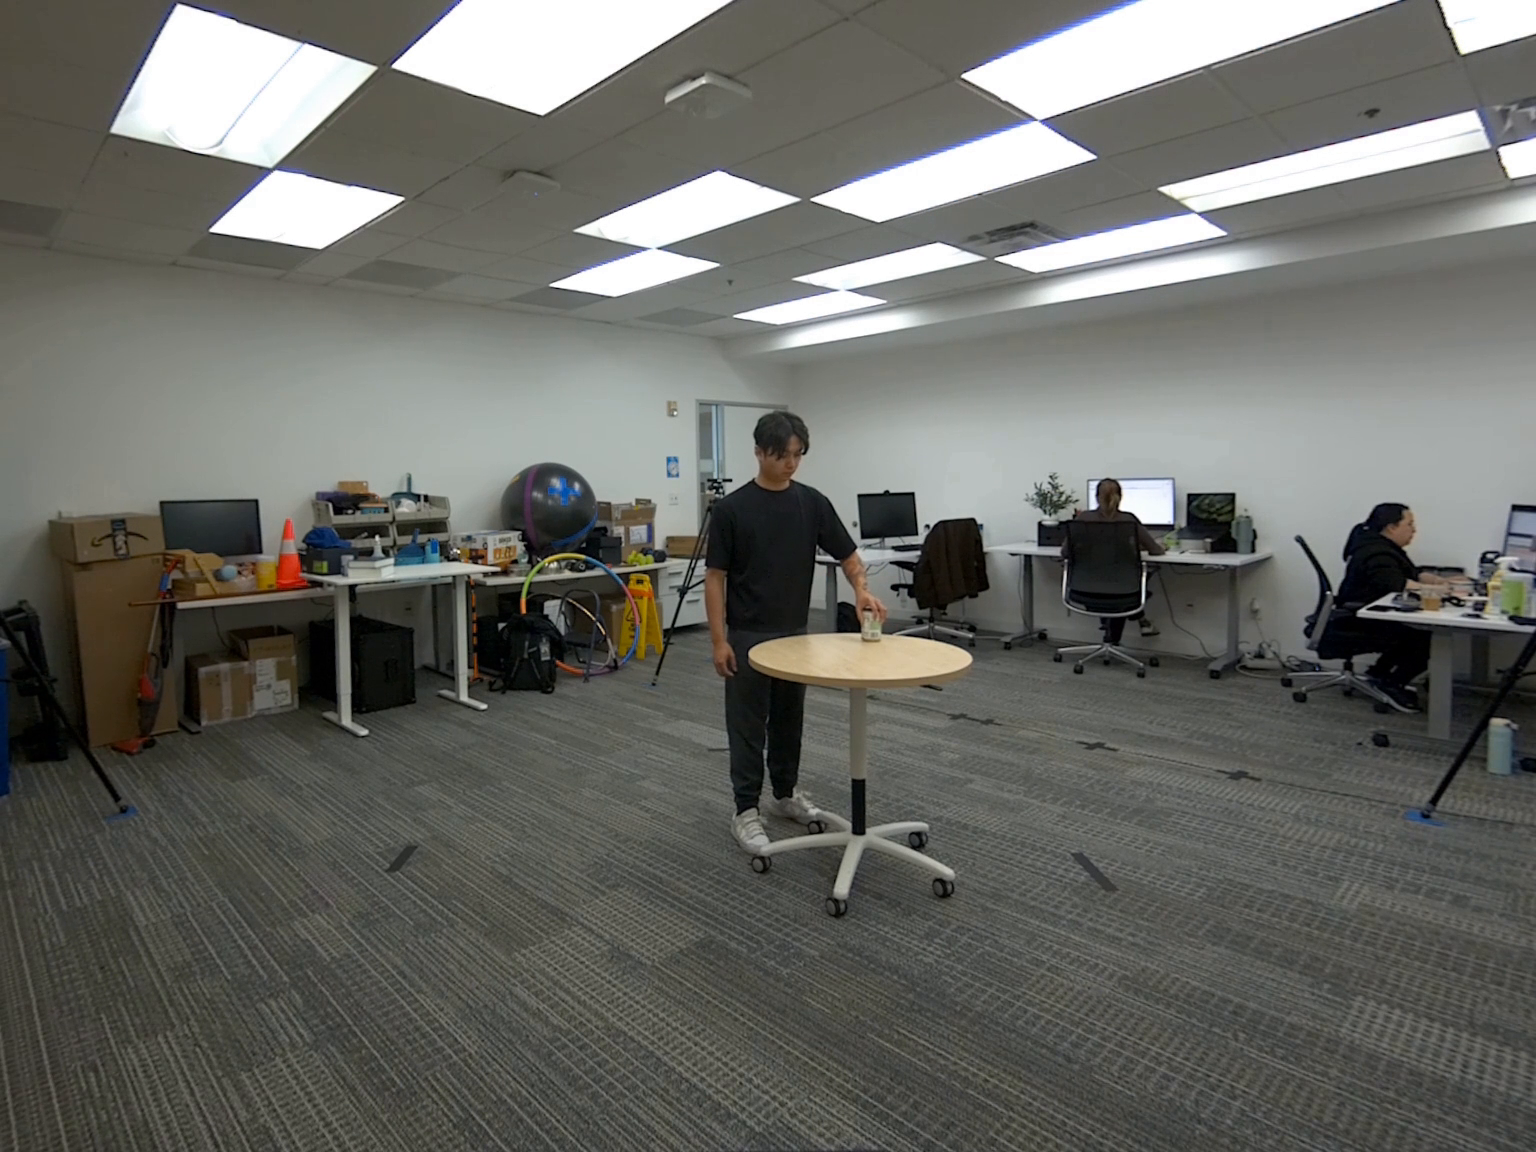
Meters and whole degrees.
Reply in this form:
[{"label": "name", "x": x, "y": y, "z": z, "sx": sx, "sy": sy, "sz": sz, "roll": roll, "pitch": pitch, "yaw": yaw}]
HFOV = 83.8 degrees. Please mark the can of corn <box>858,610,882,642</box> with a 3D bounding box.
[{"label": "can of corn", "x": 0.397, "y": 0.184, "z": 3.207, "sx": 0.074, "sy": 0.111, "sz": 0.074, "roll": 1, "pitch": 2, "yaw": -2}]
